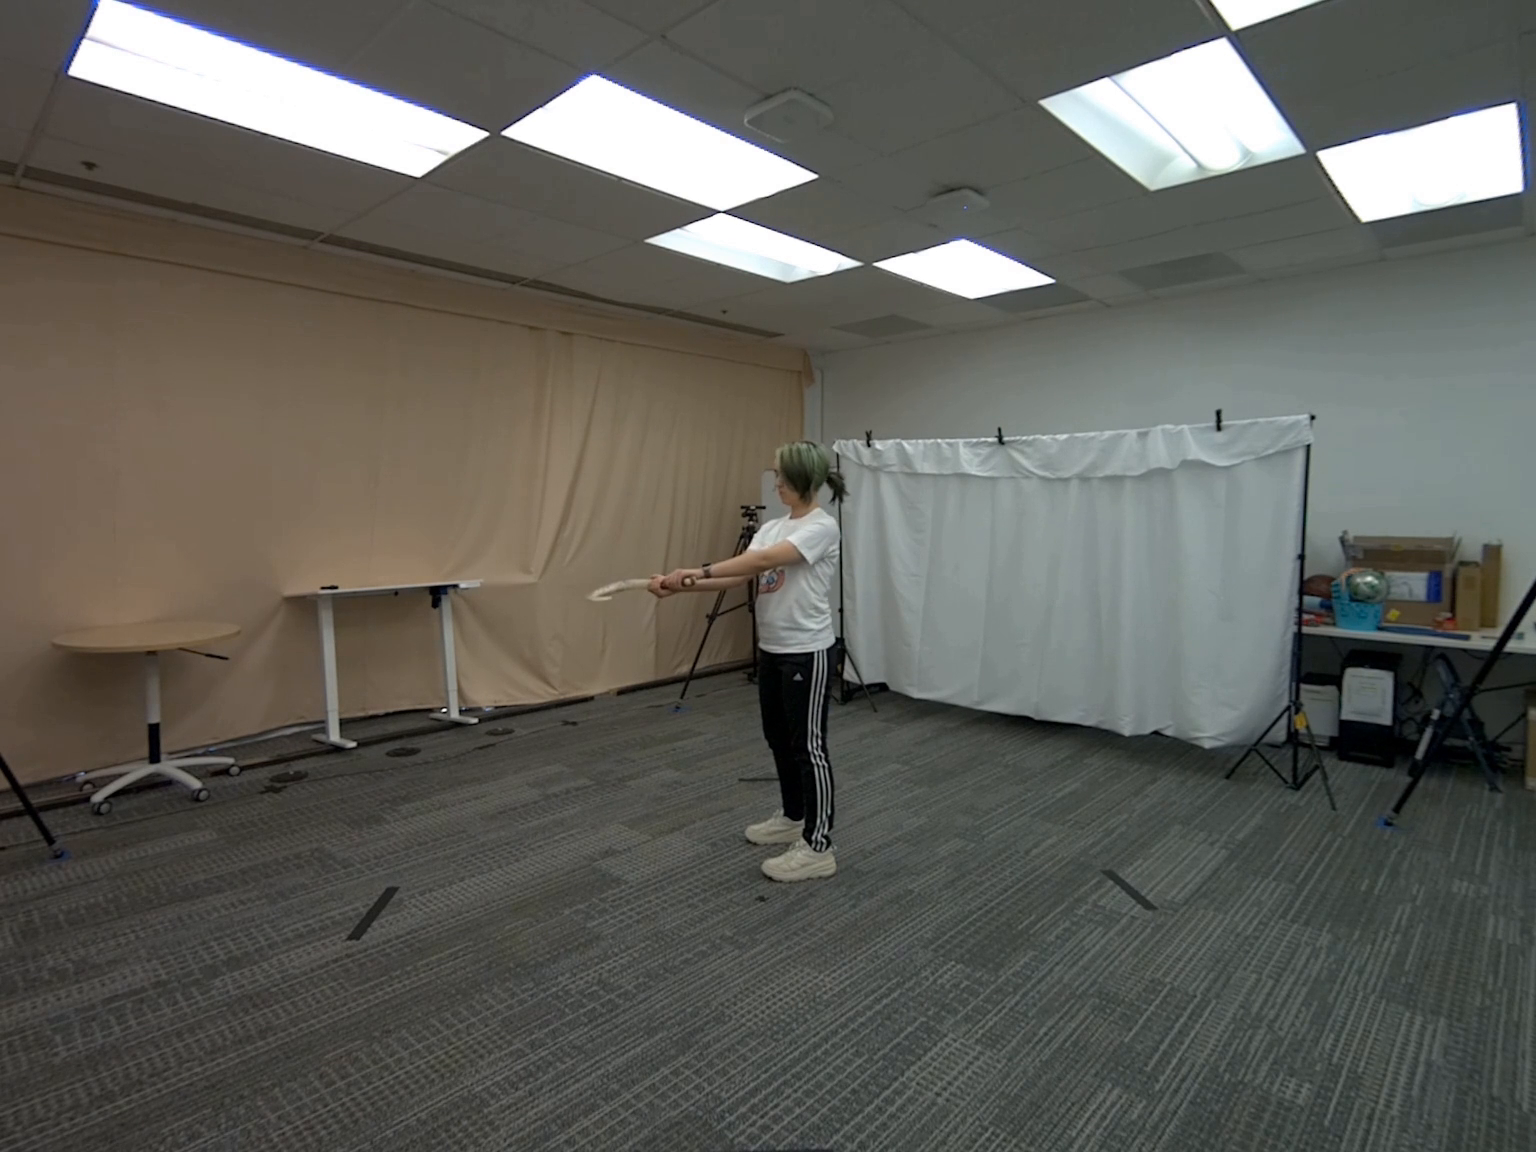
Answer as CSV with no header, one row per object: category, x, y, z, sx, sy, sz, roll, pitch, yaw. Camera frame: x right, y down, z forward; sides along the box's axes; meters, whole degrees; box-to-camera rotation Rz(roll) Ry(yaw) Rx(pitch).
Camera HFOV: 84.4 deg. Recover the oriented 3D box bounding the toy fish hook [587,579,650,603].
toy fish hook,-0.473,0.056,3.132,0.521,0.048,0.220,-7,15,37
